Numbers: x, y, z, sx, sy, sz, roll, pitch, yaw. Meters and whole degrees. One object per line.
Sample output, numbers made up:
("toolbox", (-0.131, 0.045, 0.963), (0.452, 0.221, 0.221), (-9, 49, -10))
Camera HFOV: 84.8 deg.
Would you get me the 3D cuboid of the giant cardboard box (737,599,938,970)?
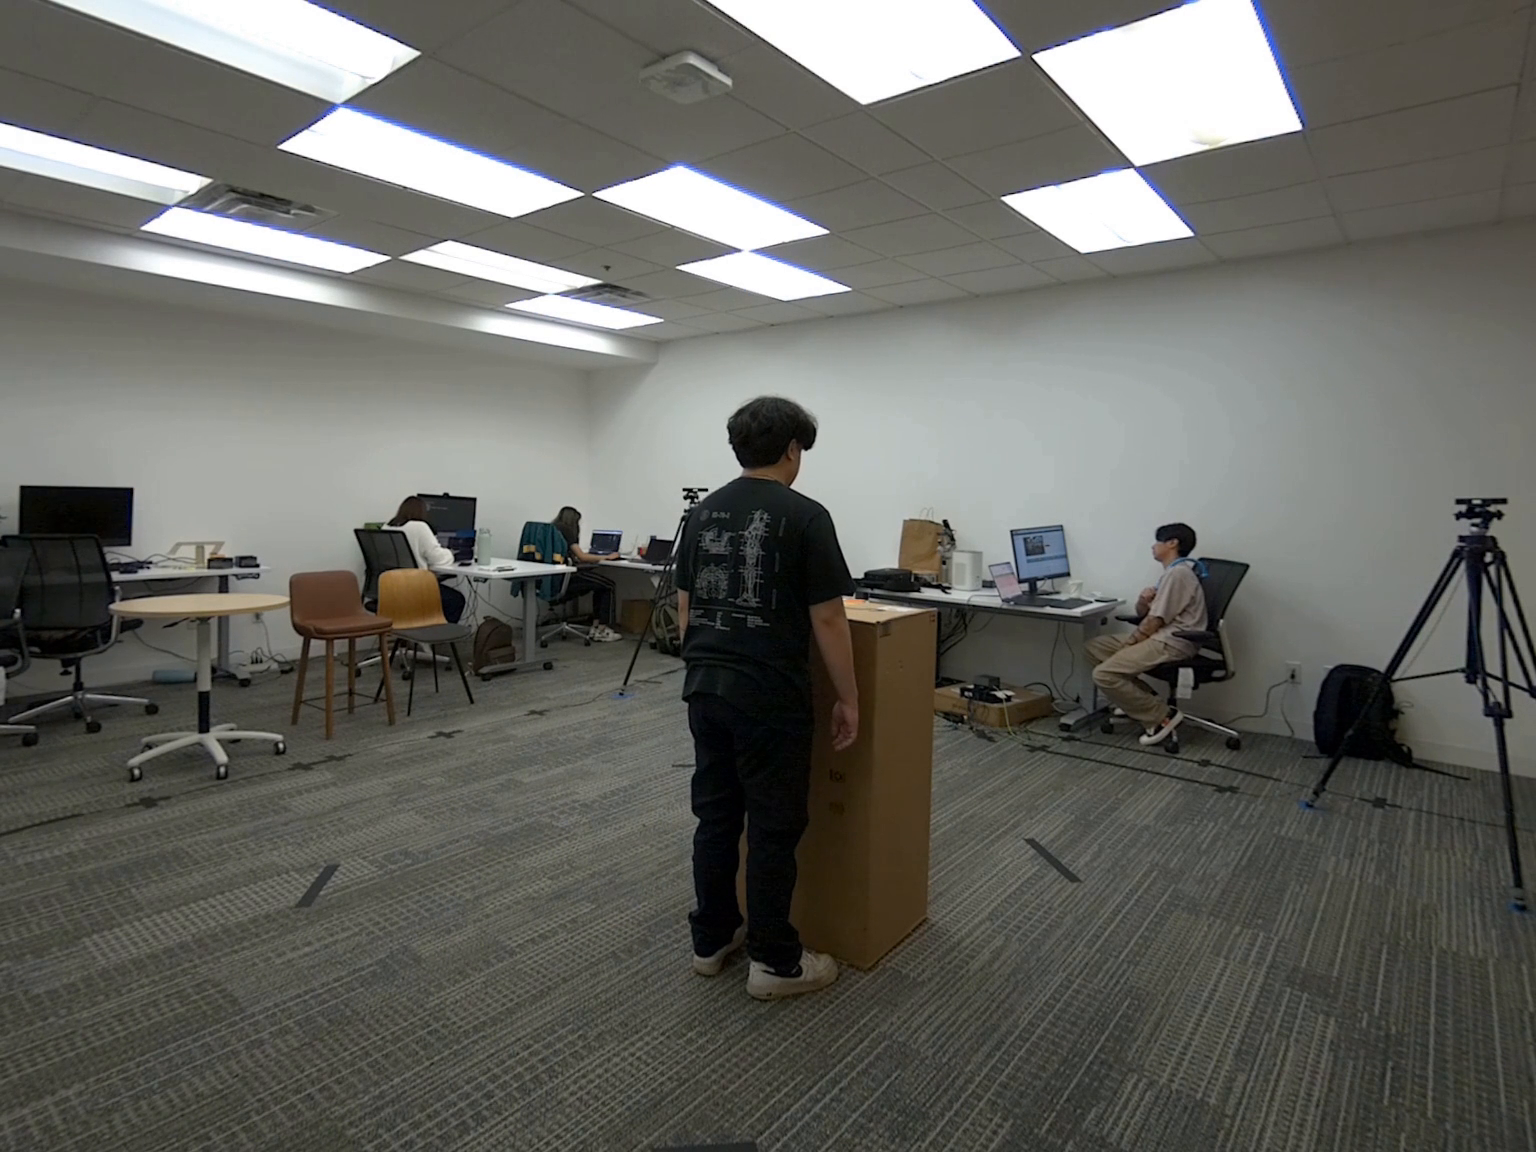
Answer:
("giant cardboard box", (0.179, 0.598, 2.784), (0.603, 1.025, 0.433), (4, 3, 37))
